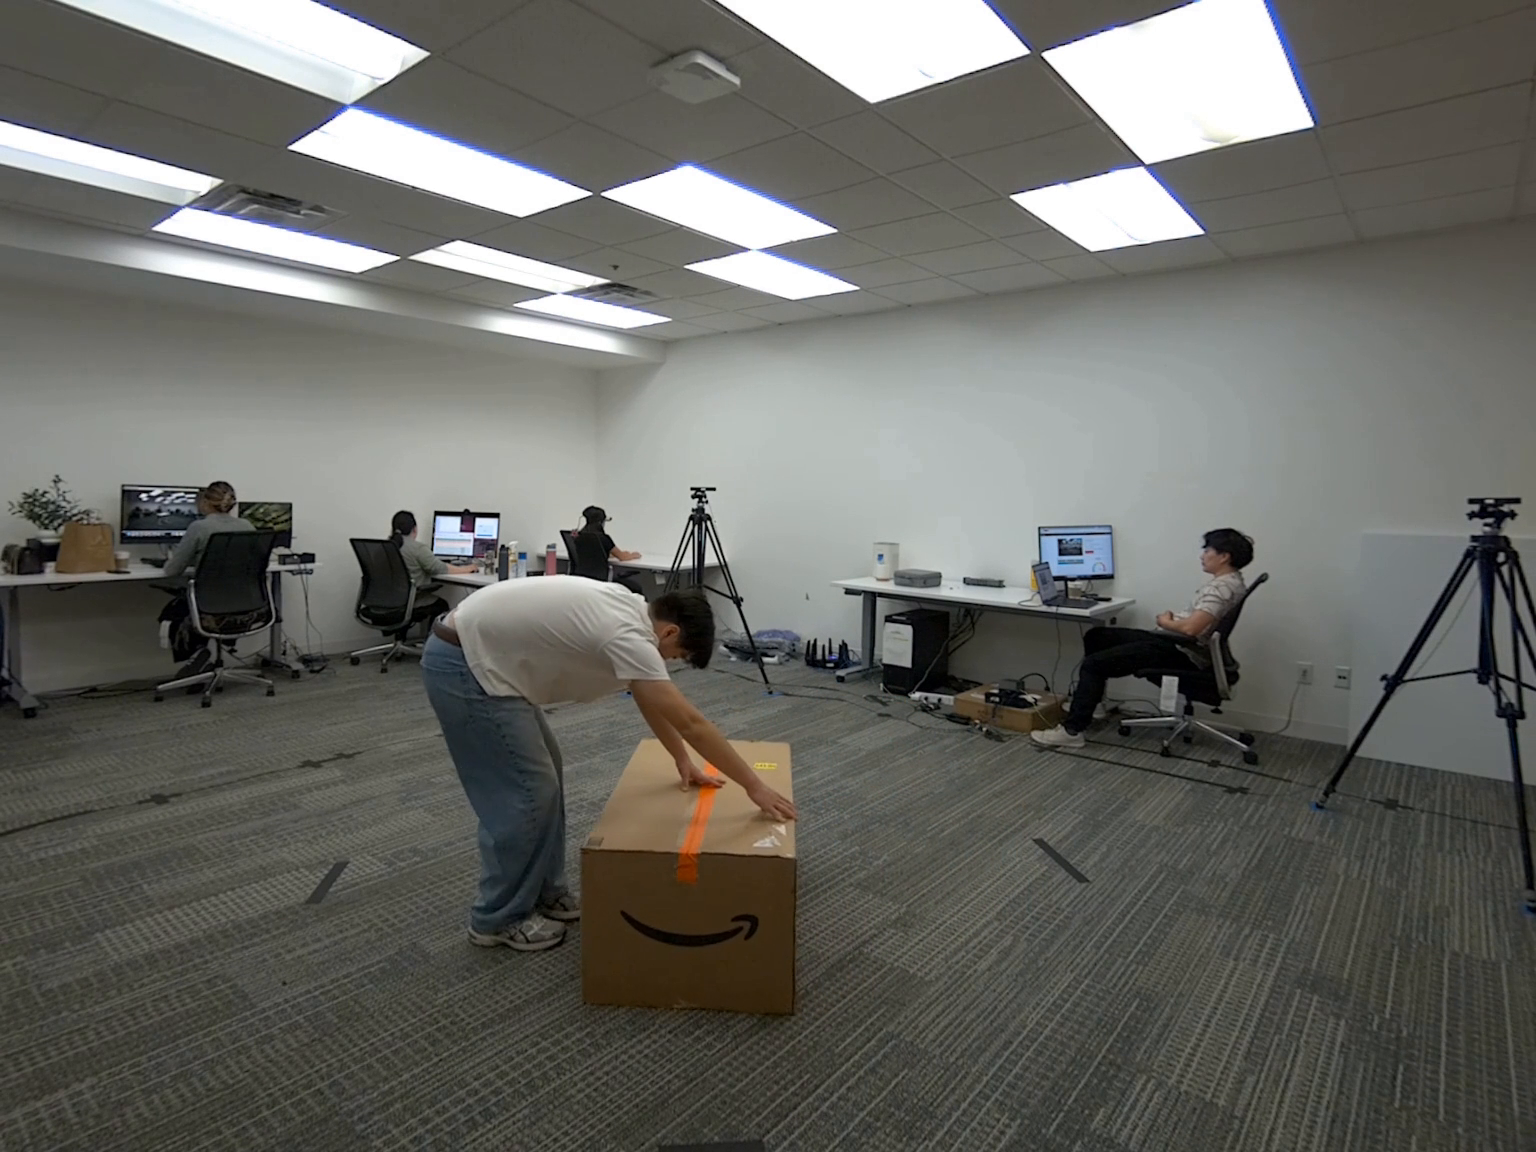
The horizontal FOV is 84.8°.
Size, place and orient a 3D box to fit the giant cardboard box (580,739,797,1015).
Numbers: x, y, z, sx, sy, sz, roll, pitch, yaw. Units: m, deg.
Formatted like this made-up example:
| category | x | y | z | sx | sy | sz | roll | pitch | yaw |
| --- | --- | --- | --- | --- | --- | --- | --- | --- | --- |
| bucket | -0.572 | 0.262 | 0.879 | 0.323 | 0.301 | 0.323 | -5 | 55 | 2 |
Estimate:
| category | x | y | z | sx | sy | sz | roll | pitch | yaw |
| --- | --- | --- | --- | --- | --- | --- | --- | --- | --- |
| giant cardboard box | -0.220 | 0.888 | 2.753 | 0.579 | 0.424 | 1.027 | 2 | 5 | 1 |
